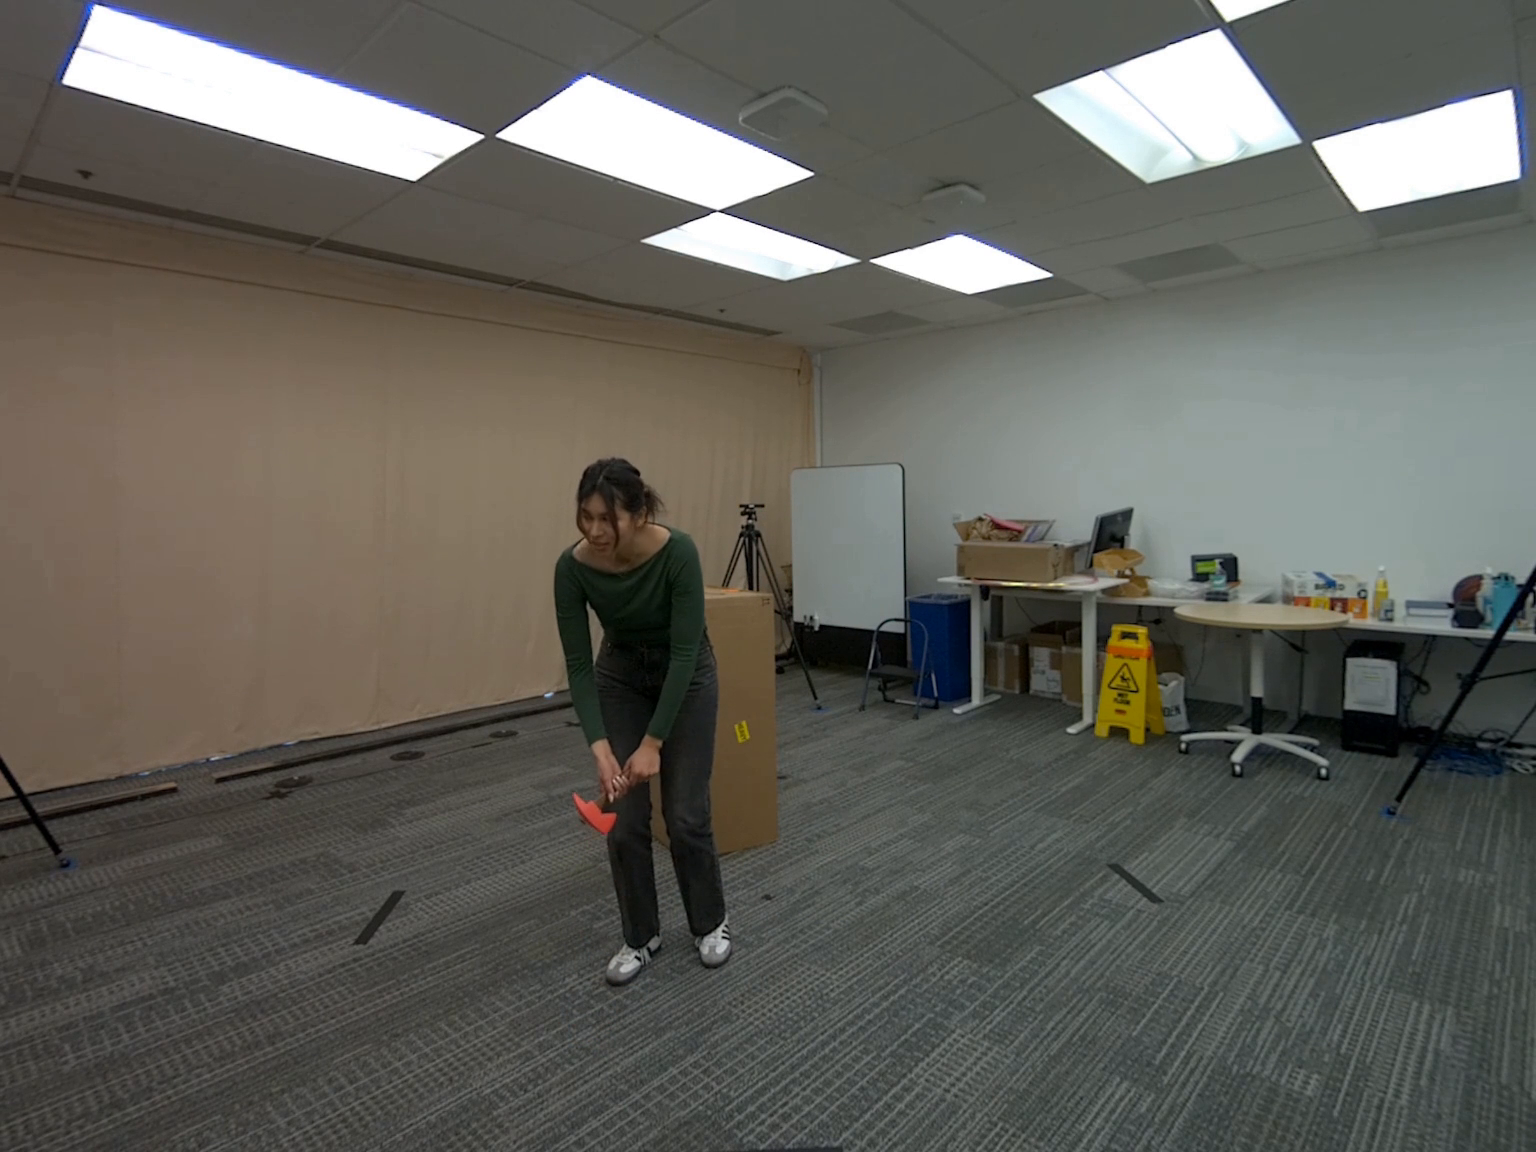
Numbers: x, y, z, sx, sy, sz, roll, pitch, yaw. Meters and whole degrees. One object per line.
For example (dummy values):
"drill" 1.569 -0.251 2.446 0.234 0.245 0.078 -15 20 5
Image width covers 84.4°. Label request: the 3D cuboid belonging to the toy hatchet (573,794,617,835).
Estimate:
"toy hatchet" -0.398 0.599 2.271 0.263 0.133 0.030 -17 -18 -41
